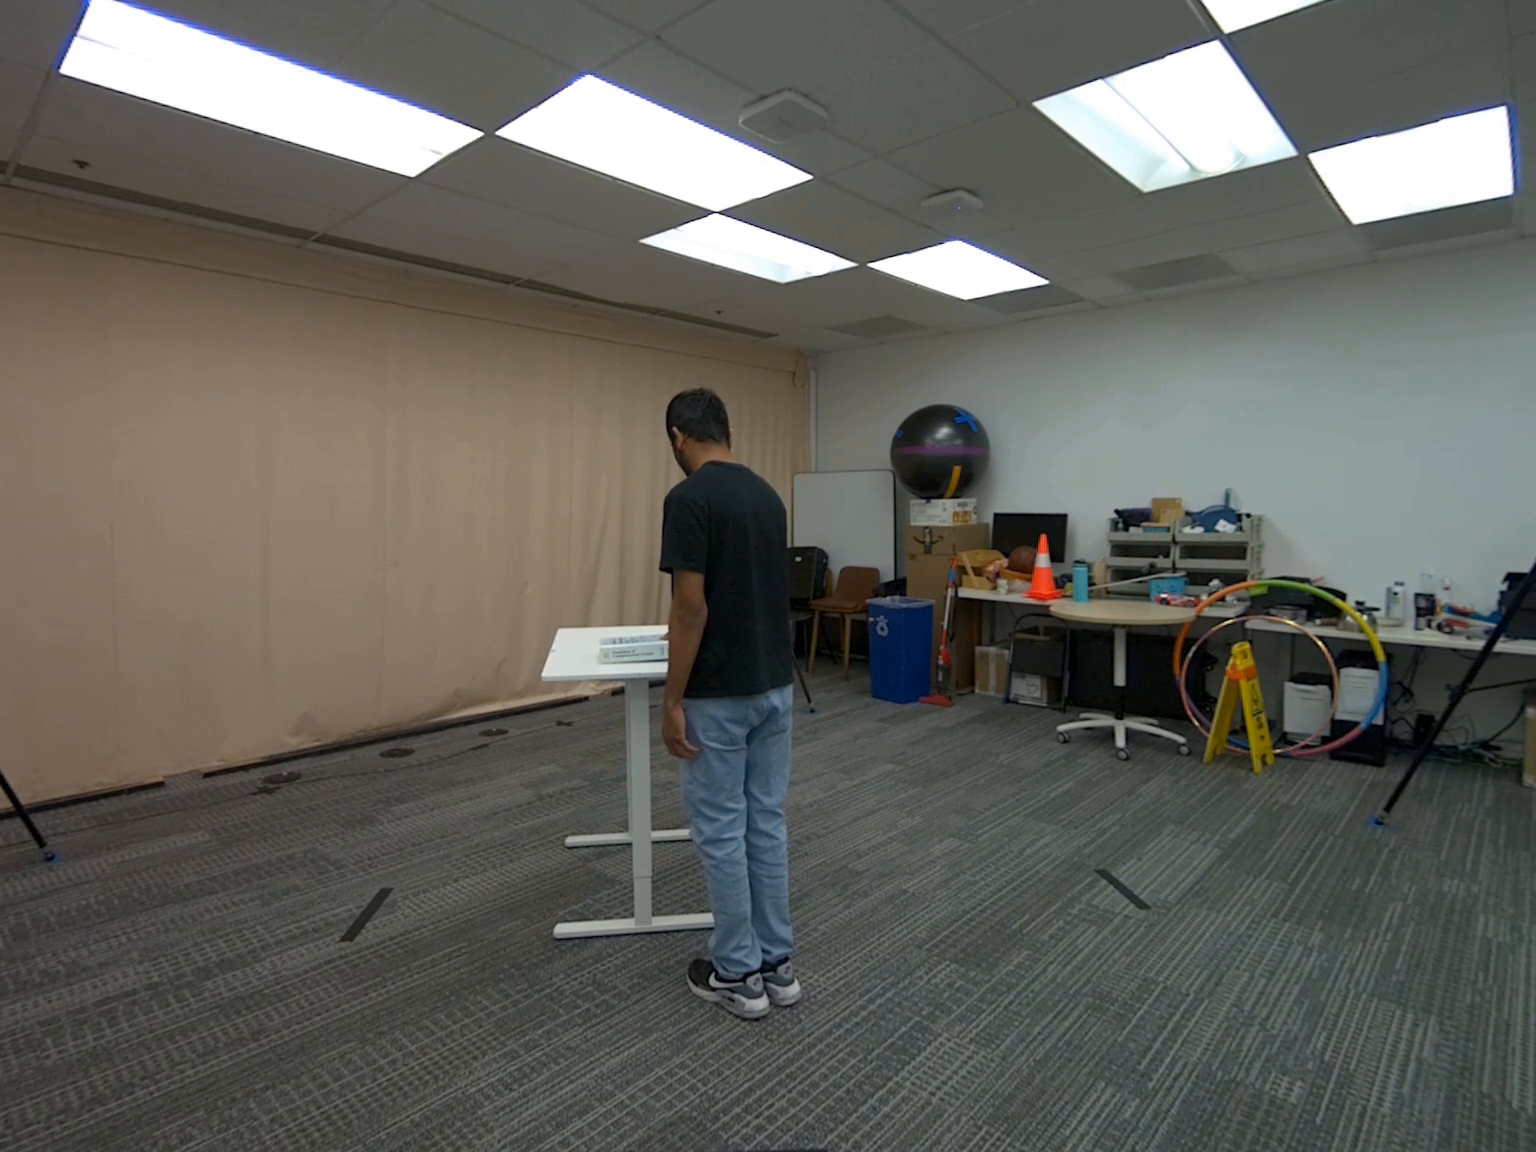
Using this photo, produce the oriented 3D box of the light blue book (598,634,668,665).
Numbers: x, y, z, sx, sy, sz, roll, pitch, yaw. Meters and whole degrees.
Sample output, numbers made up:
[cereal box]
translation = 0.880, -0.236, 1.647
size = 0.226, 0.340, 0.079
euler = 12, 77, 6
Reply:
[light blue book]
translation = -0.455, 0.247, 2.852
size = 0.259, 0.059, 0.193
euler = -1, 3, -8
